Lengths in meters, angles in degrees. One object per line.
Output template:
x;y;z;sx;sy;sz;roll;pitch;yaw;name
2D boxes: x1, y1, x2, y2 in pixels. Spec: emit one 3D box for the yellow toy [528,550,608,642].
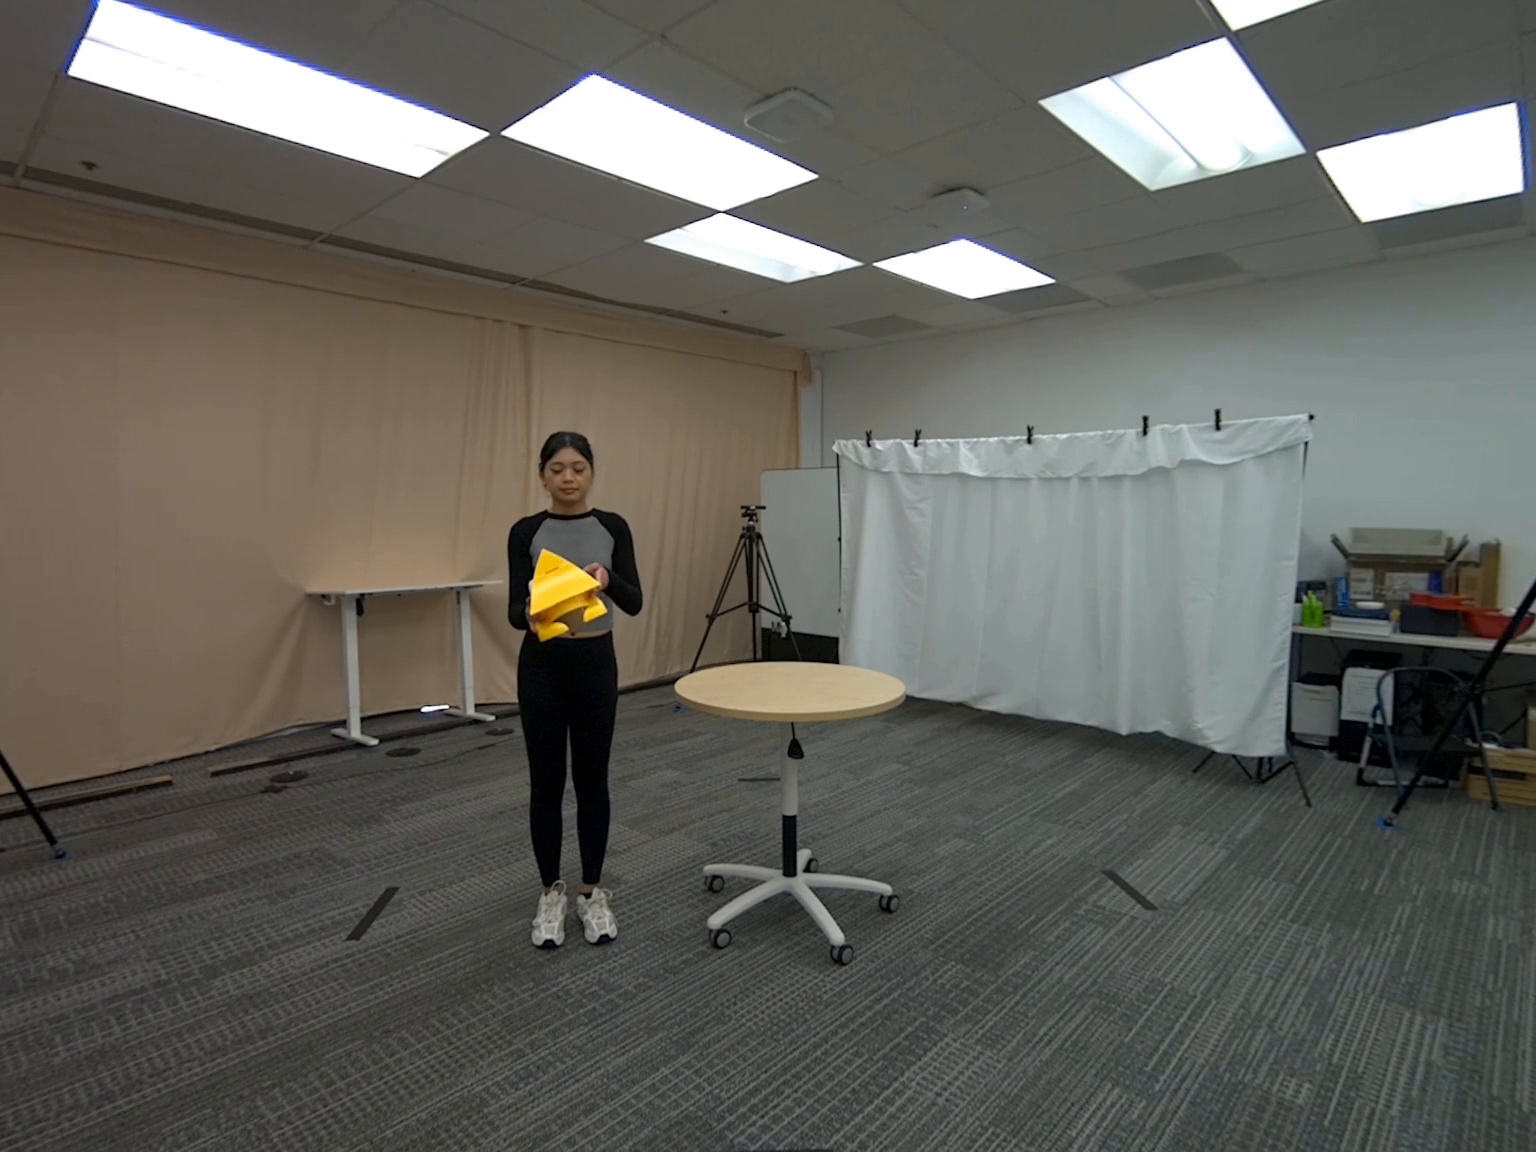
-0.596;0.039;2.353;0.202;0.230;0.196;-24;3;-19;yellow toy
